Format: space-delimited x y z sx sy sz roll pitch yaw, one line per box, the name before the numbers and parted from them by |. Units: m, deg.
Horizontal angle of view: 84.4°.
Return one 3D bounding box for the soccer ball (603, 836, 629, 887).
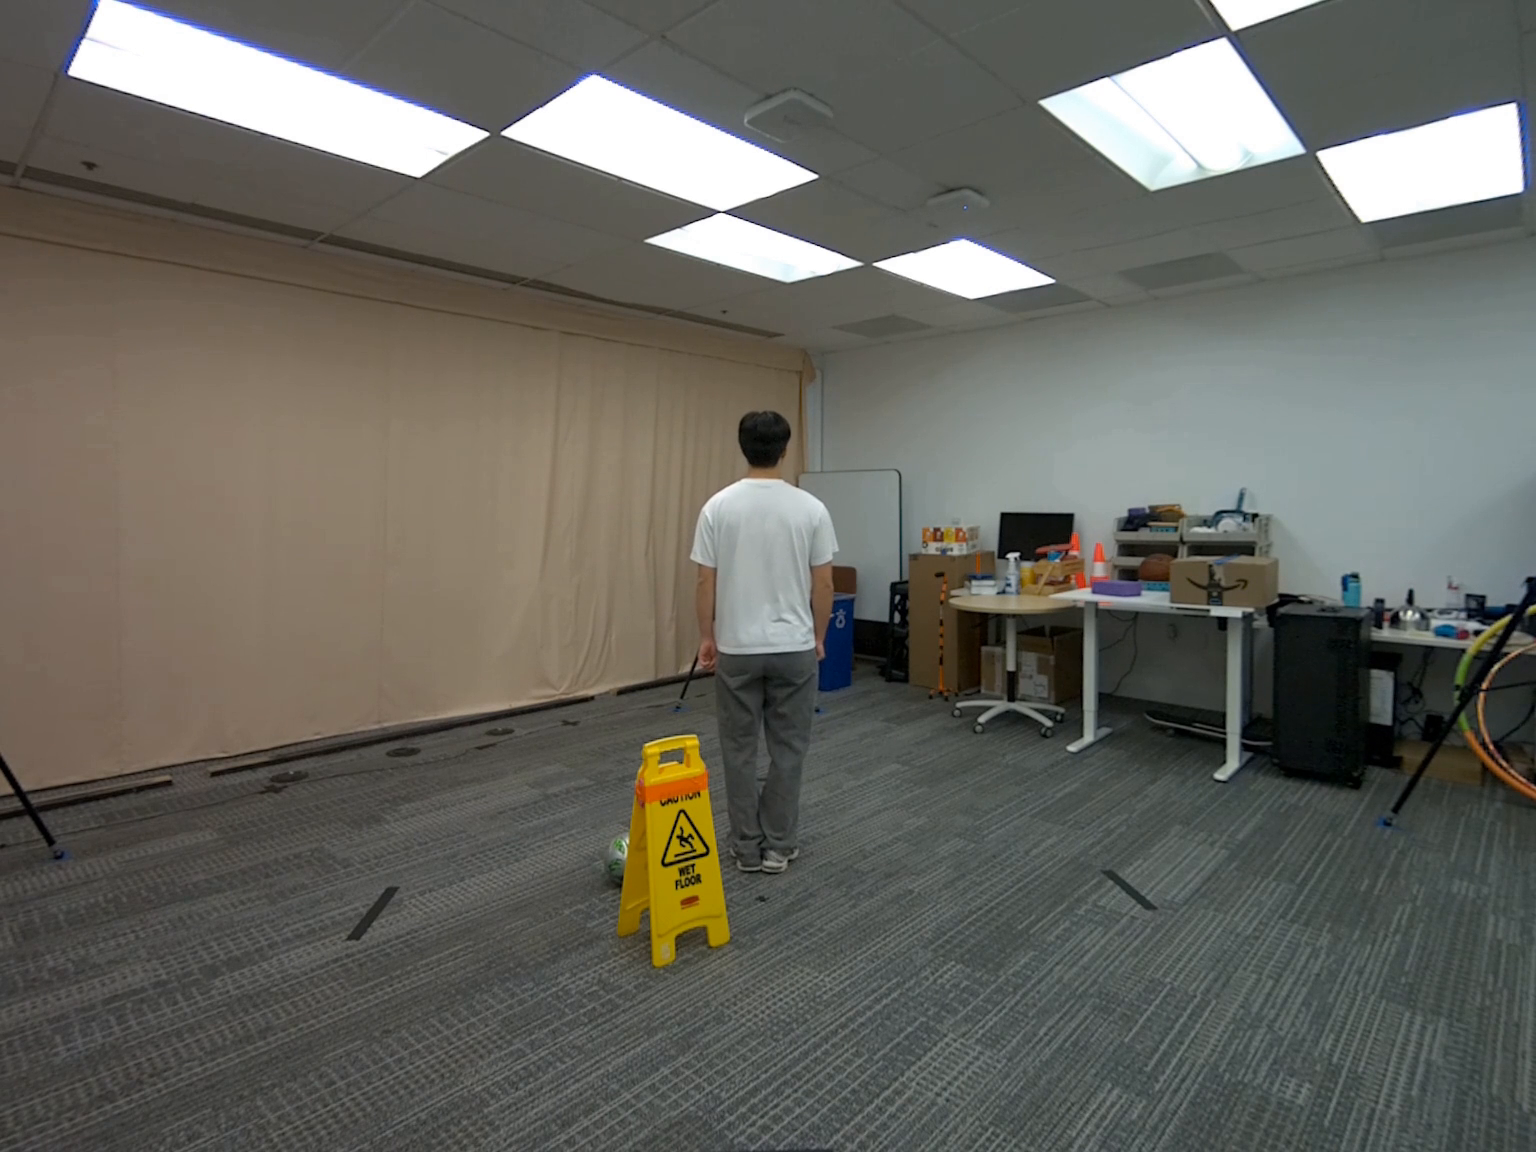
soccer ball | -0.504 1.052 3.102 0.187 0.187 0.188 0 4 -2
